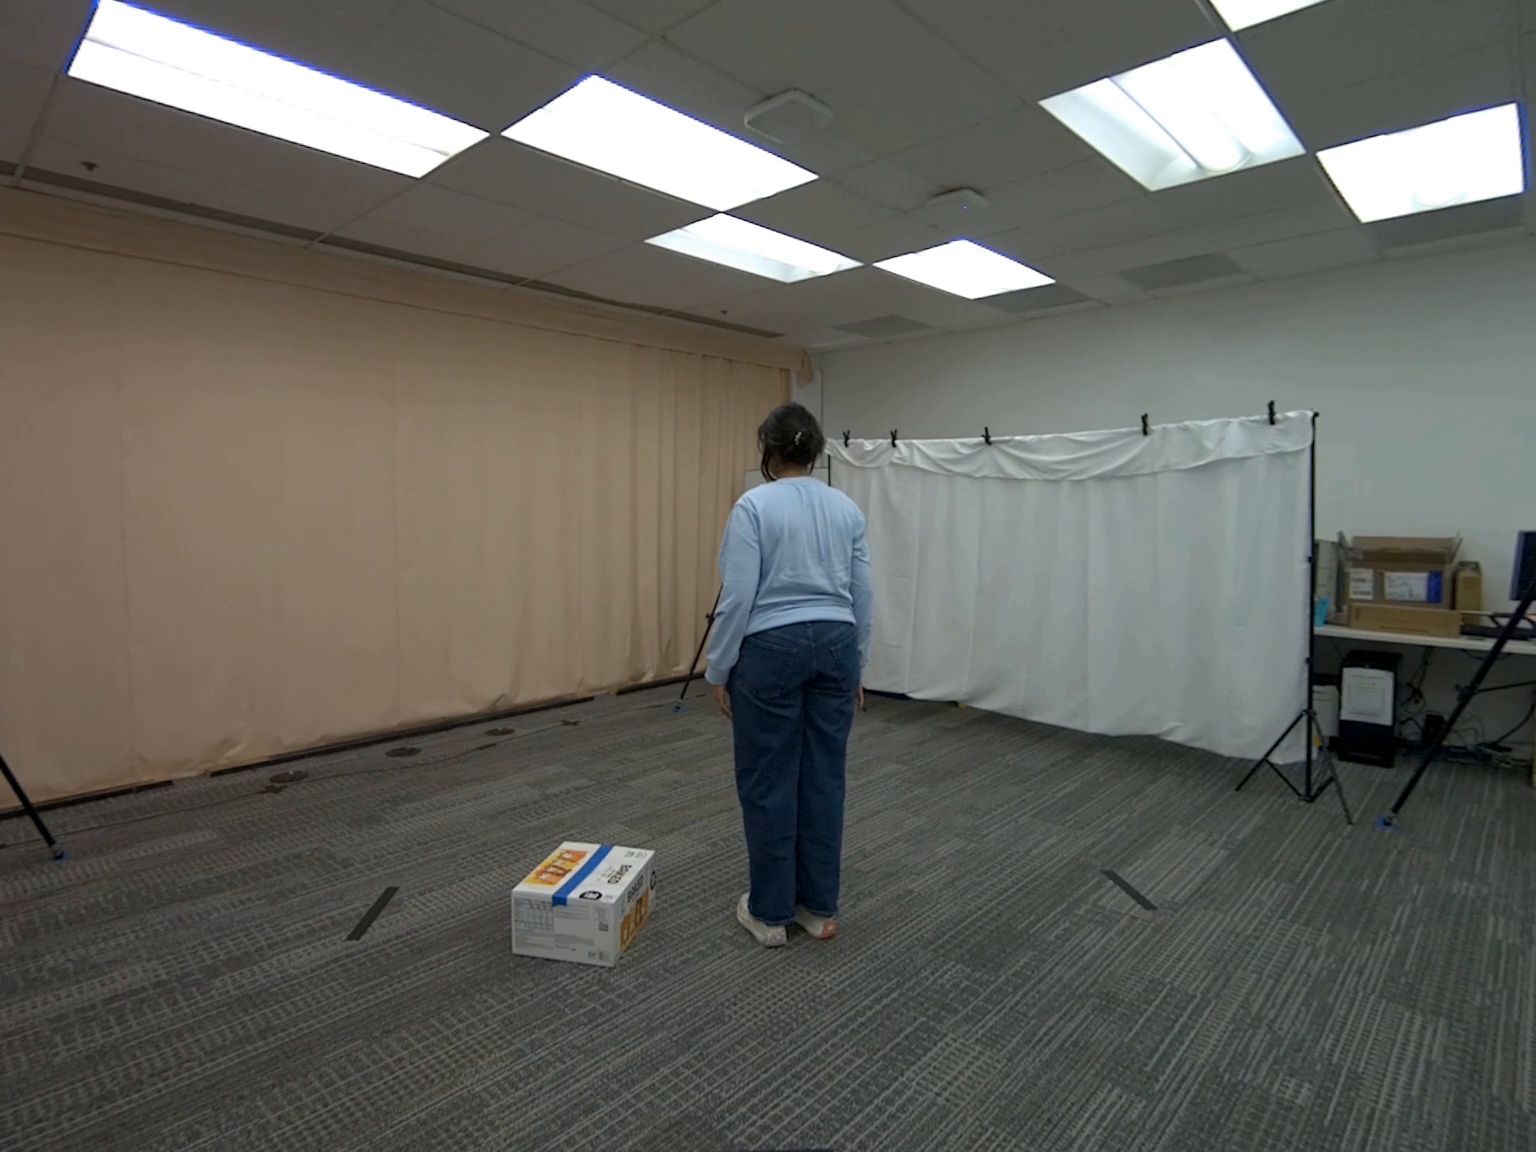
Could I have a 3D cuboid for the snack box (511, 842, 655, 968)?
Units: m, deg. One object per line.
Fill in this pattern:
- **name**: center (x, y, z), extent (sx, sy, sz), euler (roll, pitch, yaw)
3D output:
- **snack box**: center (-0.594, 1.071, 2.756), extent (0.345, 0.205, 0.400), euler (0, 4, 12)
